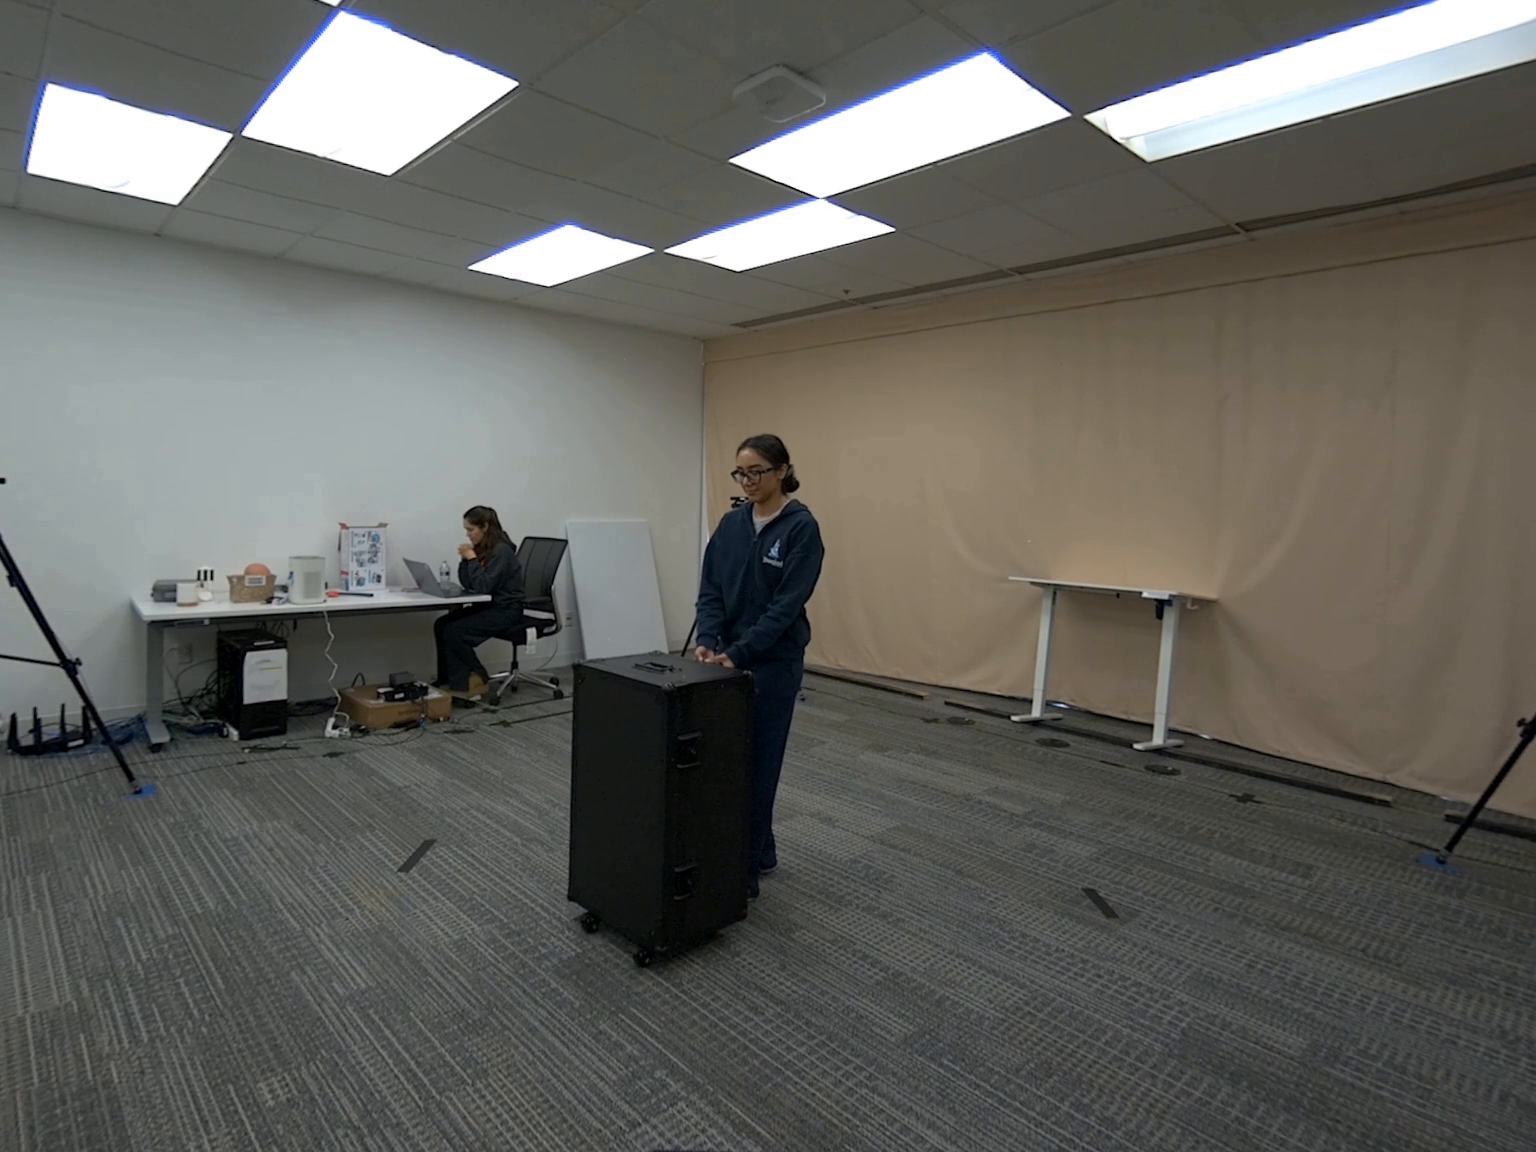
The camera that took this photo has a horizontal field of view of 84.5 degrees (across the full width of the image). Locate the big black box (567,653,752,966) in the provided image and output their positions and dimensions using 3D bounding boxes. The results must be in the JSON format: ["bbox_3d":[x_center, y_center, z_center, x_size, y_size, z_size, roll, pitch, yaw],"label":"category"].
[{"bbox_3d":[-0.350,0.721,2.688,0.534,0.860,0.387,5,3,44],"label":"big black box"}]
